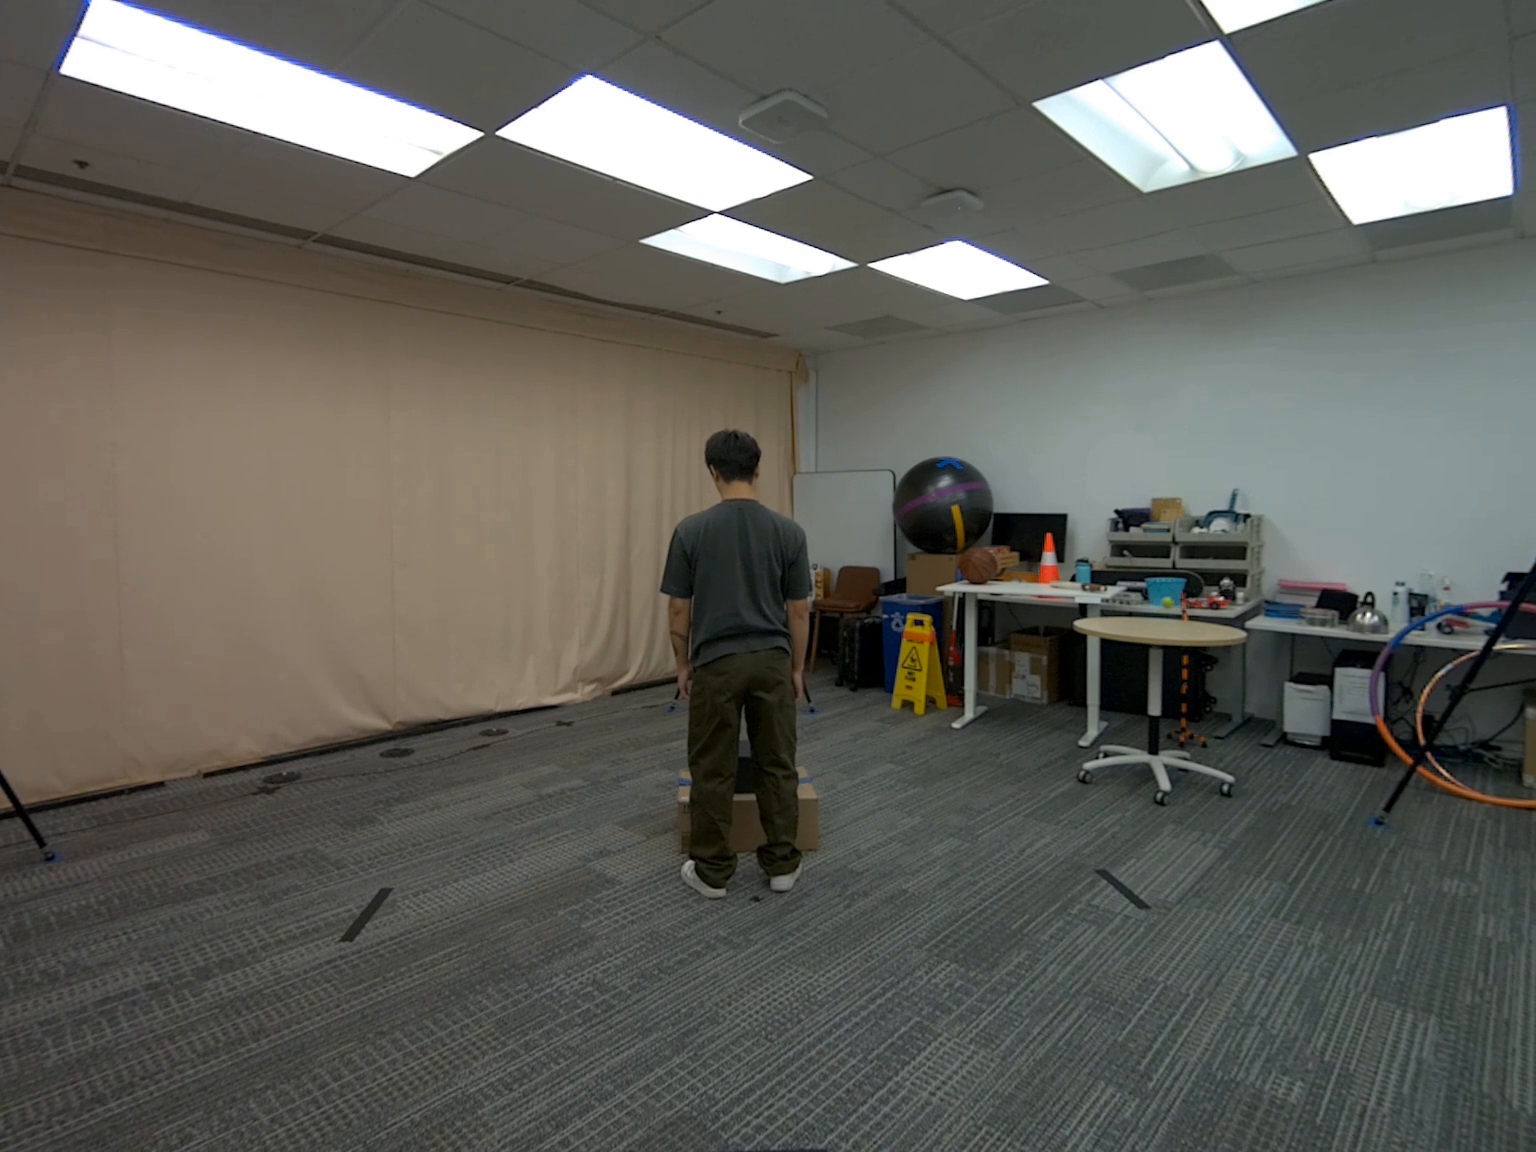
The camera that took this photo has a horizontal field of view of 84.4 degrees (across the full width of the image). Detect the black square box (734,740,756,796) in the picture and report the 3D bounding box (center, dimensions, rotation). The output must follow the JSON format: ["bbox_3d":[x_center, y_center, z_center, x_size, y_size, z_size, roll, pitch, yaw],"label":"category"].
[{"bbox_3d":[-0.101,0.799,3.551,0.227,0.155,0.218,-1,5,-3],"label":"black square box"}]
